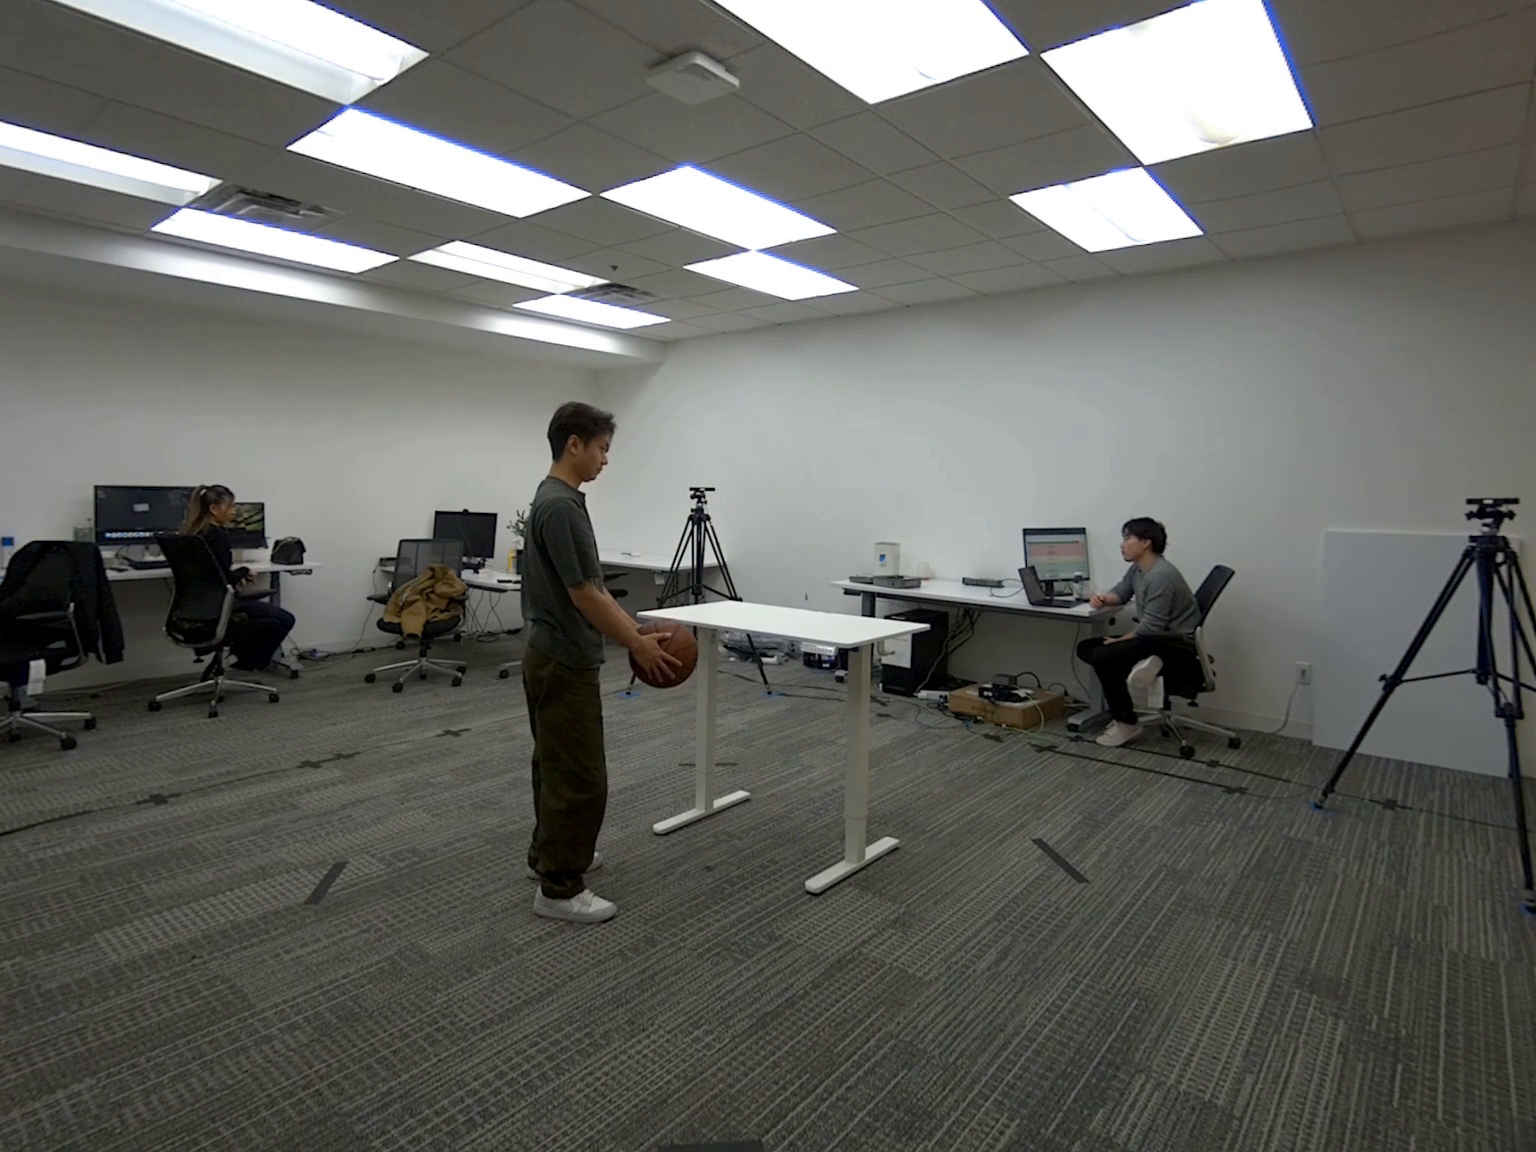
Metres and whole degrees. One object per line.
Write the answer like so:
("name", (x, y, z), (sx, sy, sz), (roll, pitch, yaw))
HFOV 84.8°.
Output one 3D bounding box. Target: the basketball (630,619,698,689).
("basketball", (-0.376, 0.262, 2.884), (0.235, 0.235, 0.237), (1, 4, -2))
